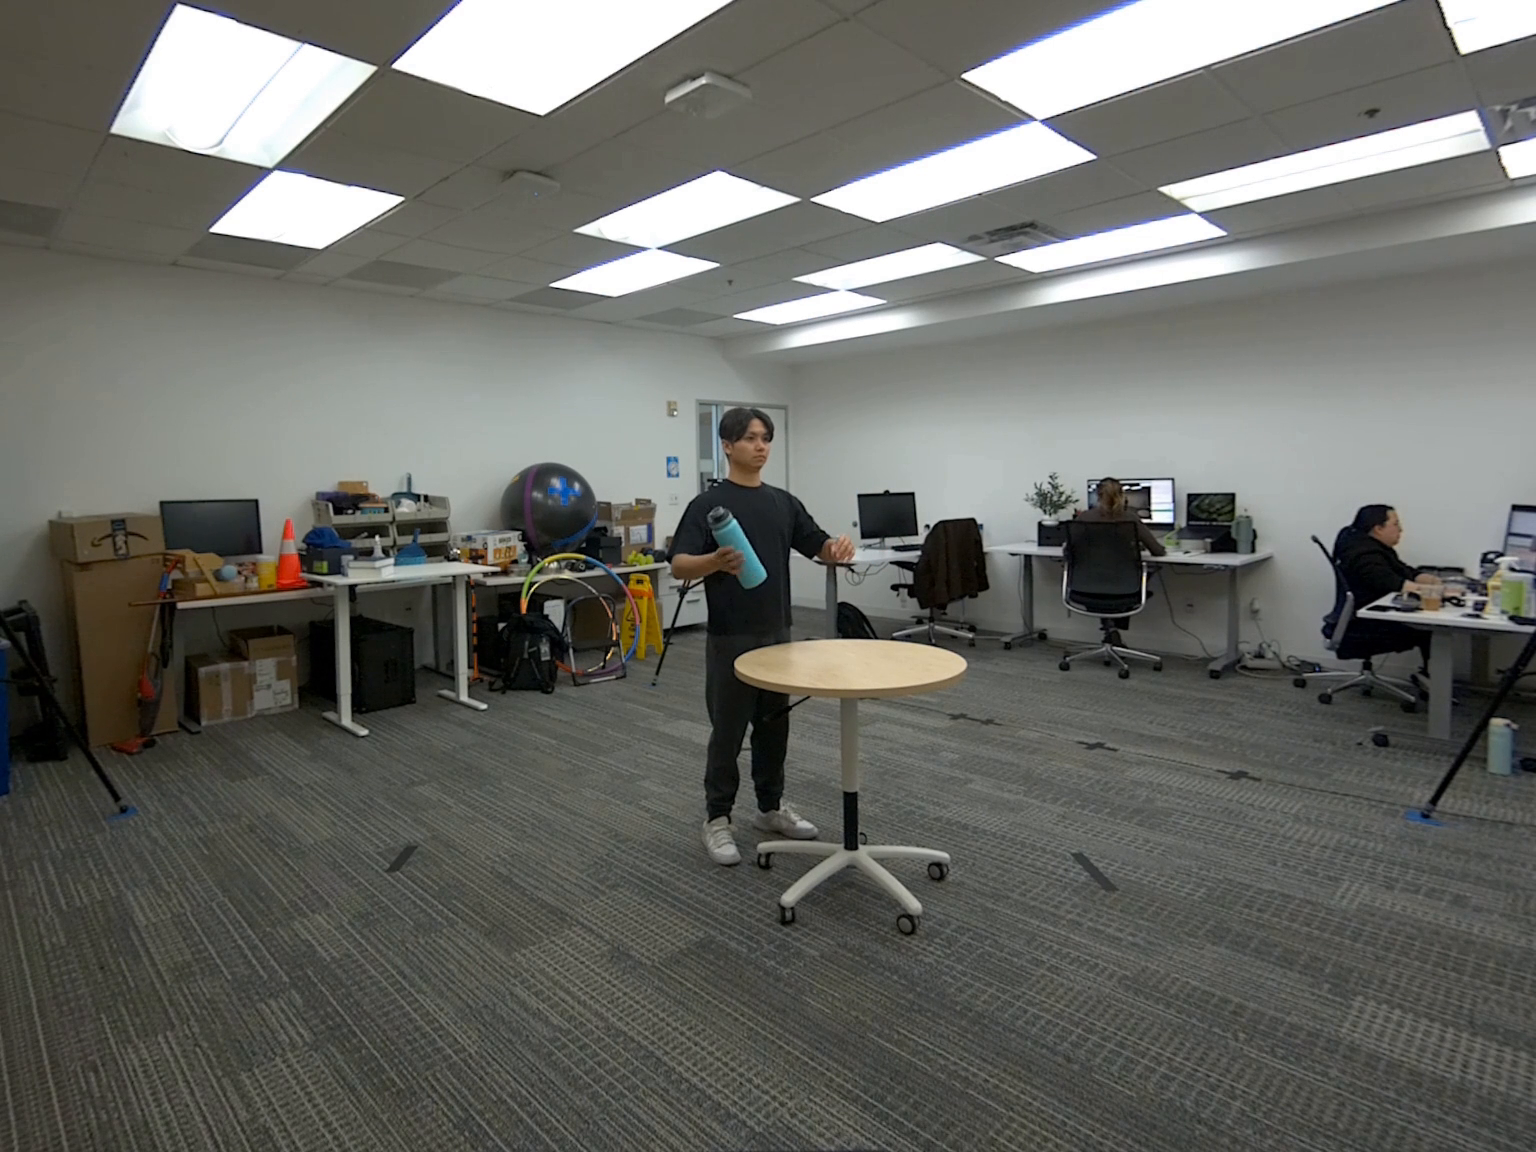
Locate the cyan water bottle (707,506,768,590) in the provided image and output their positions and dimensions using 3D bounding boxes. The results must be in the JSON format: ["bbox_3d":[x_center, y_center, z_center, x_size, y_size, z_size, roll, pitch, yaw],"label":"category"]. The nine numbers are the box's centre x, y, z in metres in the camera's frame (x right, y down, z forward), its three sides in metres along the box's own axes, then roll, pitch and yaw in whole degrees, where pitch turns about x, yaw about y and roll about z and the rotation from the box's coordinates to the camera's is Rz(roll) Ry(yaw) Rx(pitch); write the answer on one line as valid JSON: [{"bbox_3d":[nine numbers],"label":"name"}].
[{"bbox_3d":[-0.099,-0.096,2.774,0.093,0.277,0.094,-27,19,9],"label":"cyan water bottle"}]
